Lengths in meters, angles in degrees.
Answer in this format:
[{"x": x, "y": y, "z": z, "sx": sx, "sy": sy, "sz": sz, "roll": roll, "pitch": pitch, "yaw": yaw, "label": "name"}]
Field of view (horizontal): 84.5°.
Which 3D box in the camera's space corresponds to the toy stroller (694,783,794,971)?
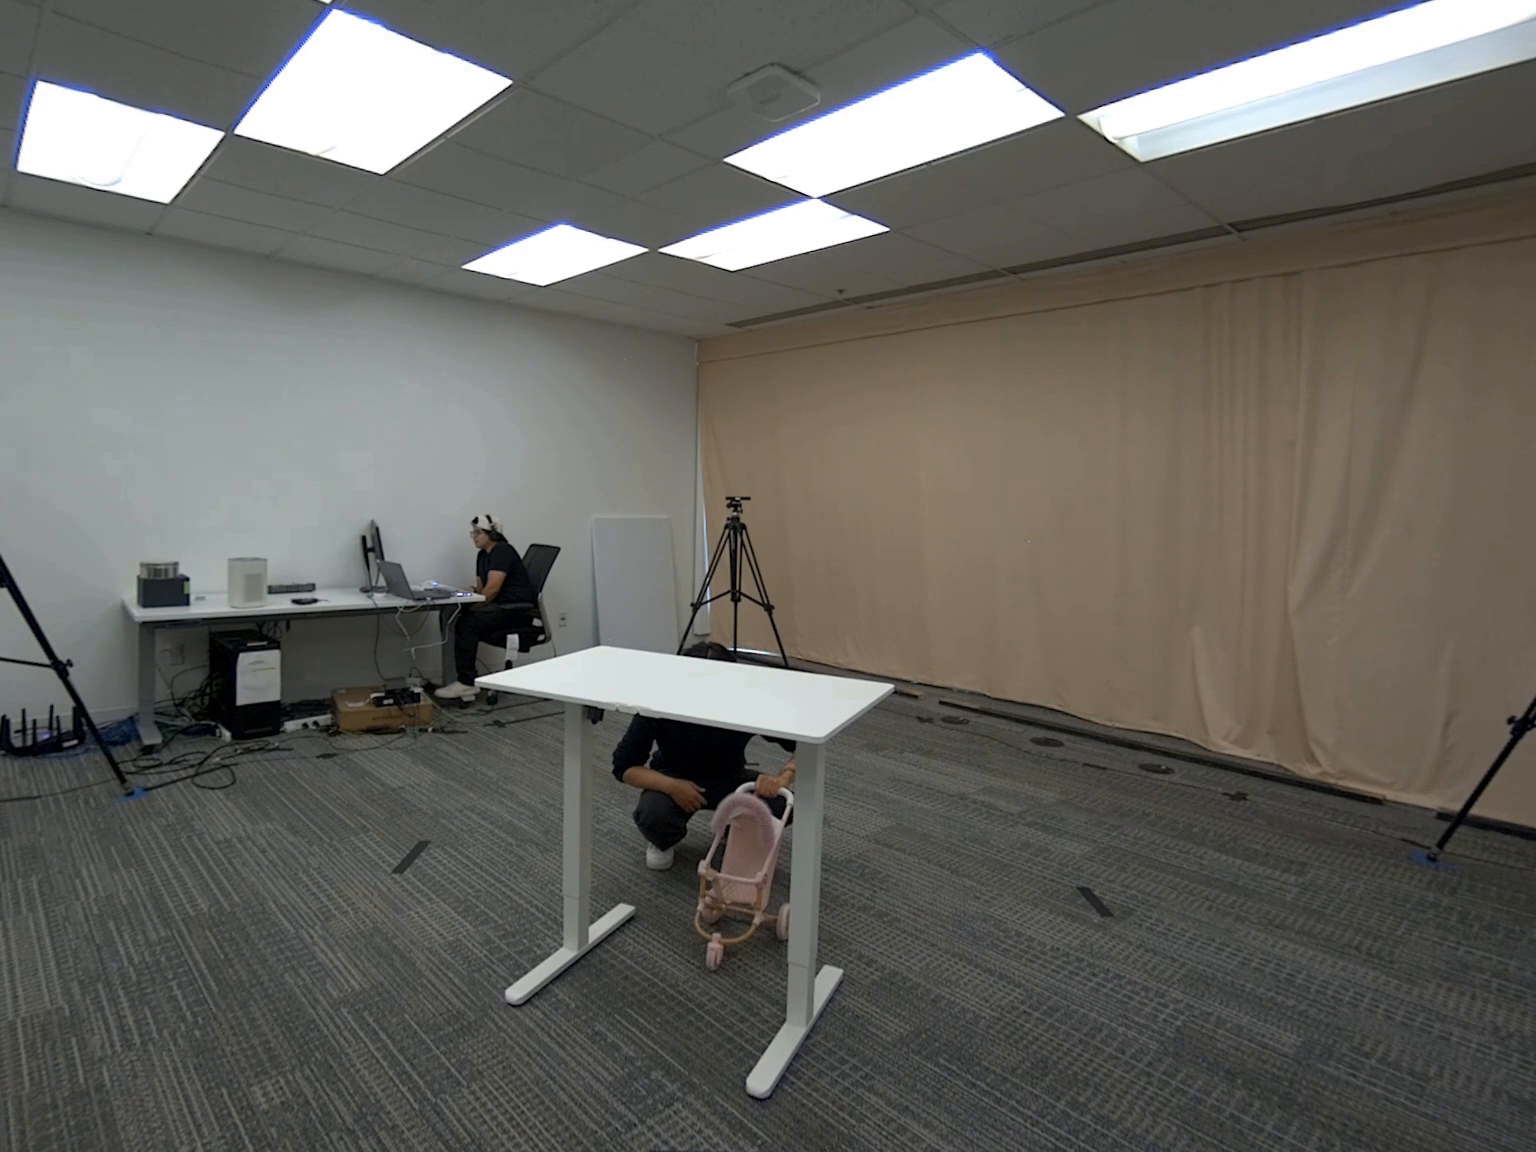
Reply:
[{"x": -0.095, "y": 0.930, "z": 2.644, "sx": 0.287, "sy": 0.539, "sz": 0.332, "roll": 3, "pitch": -13, "yaw": 26, "label": "toy stroller"}]
